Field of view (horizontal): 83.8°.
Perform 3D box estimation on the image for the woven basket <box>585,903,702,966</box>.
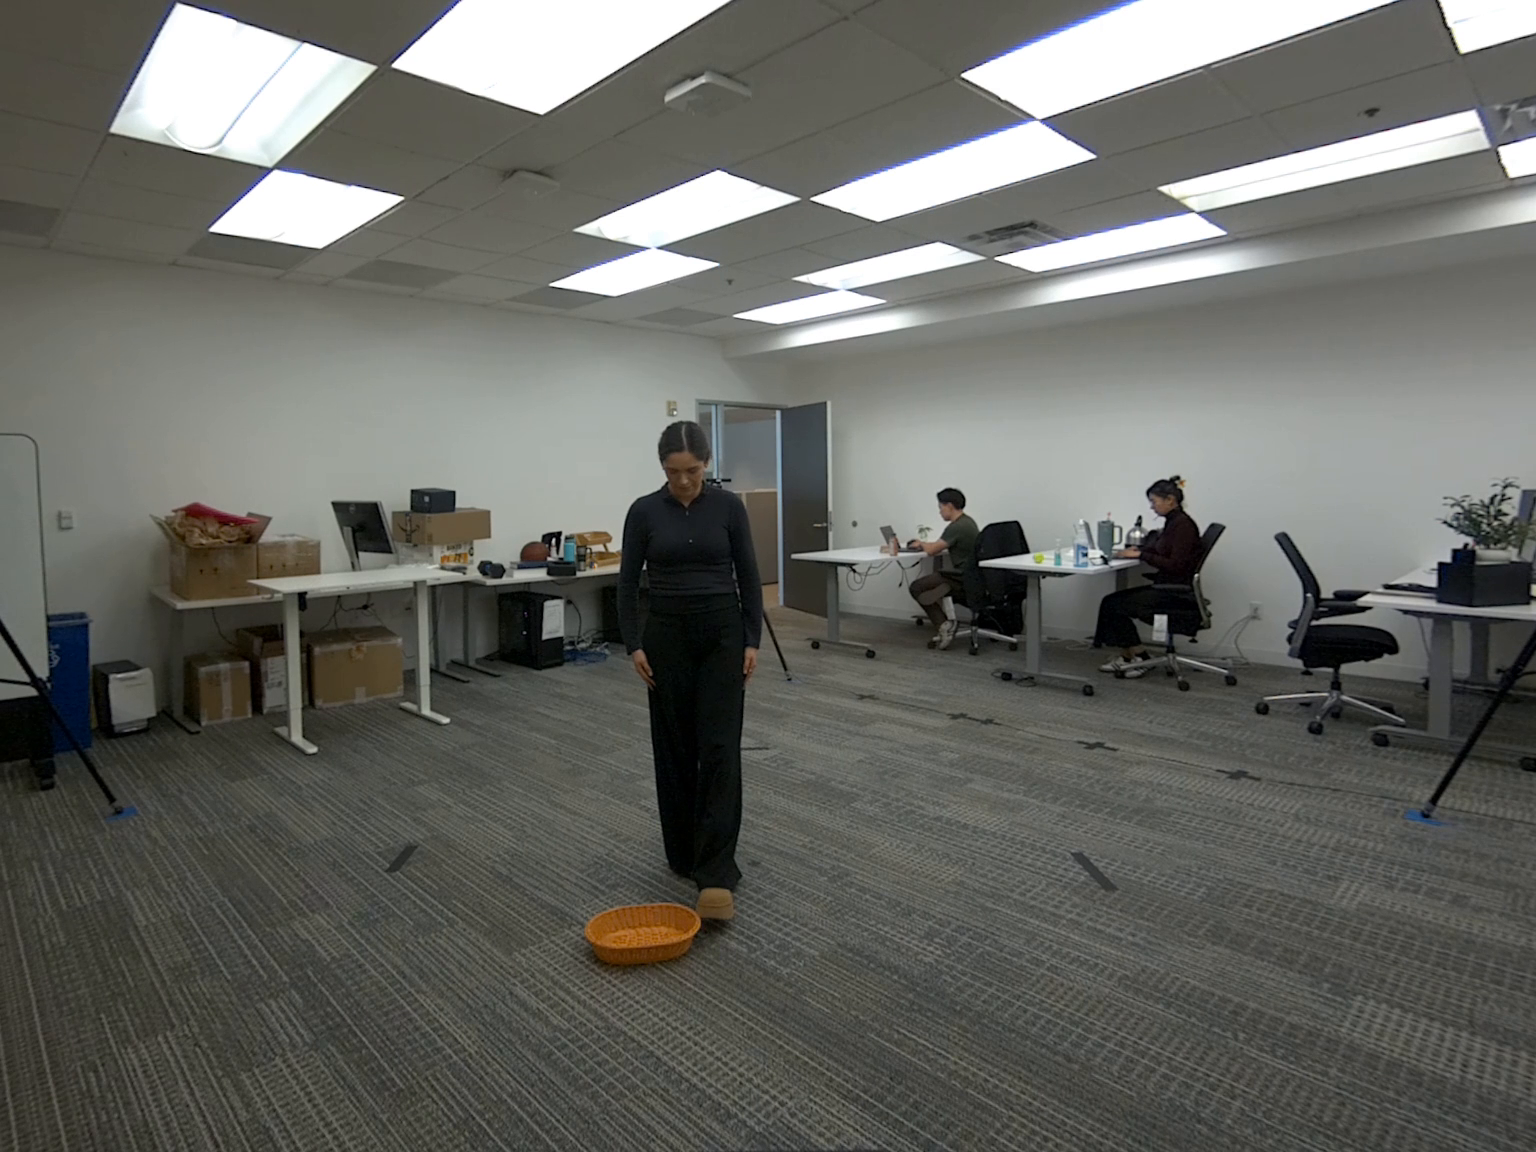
[{"bbox_3d":[-0.370,1.077,2.560,0.348,0.073,0.255,-2,5,-7],"label":"woven basket"}]
